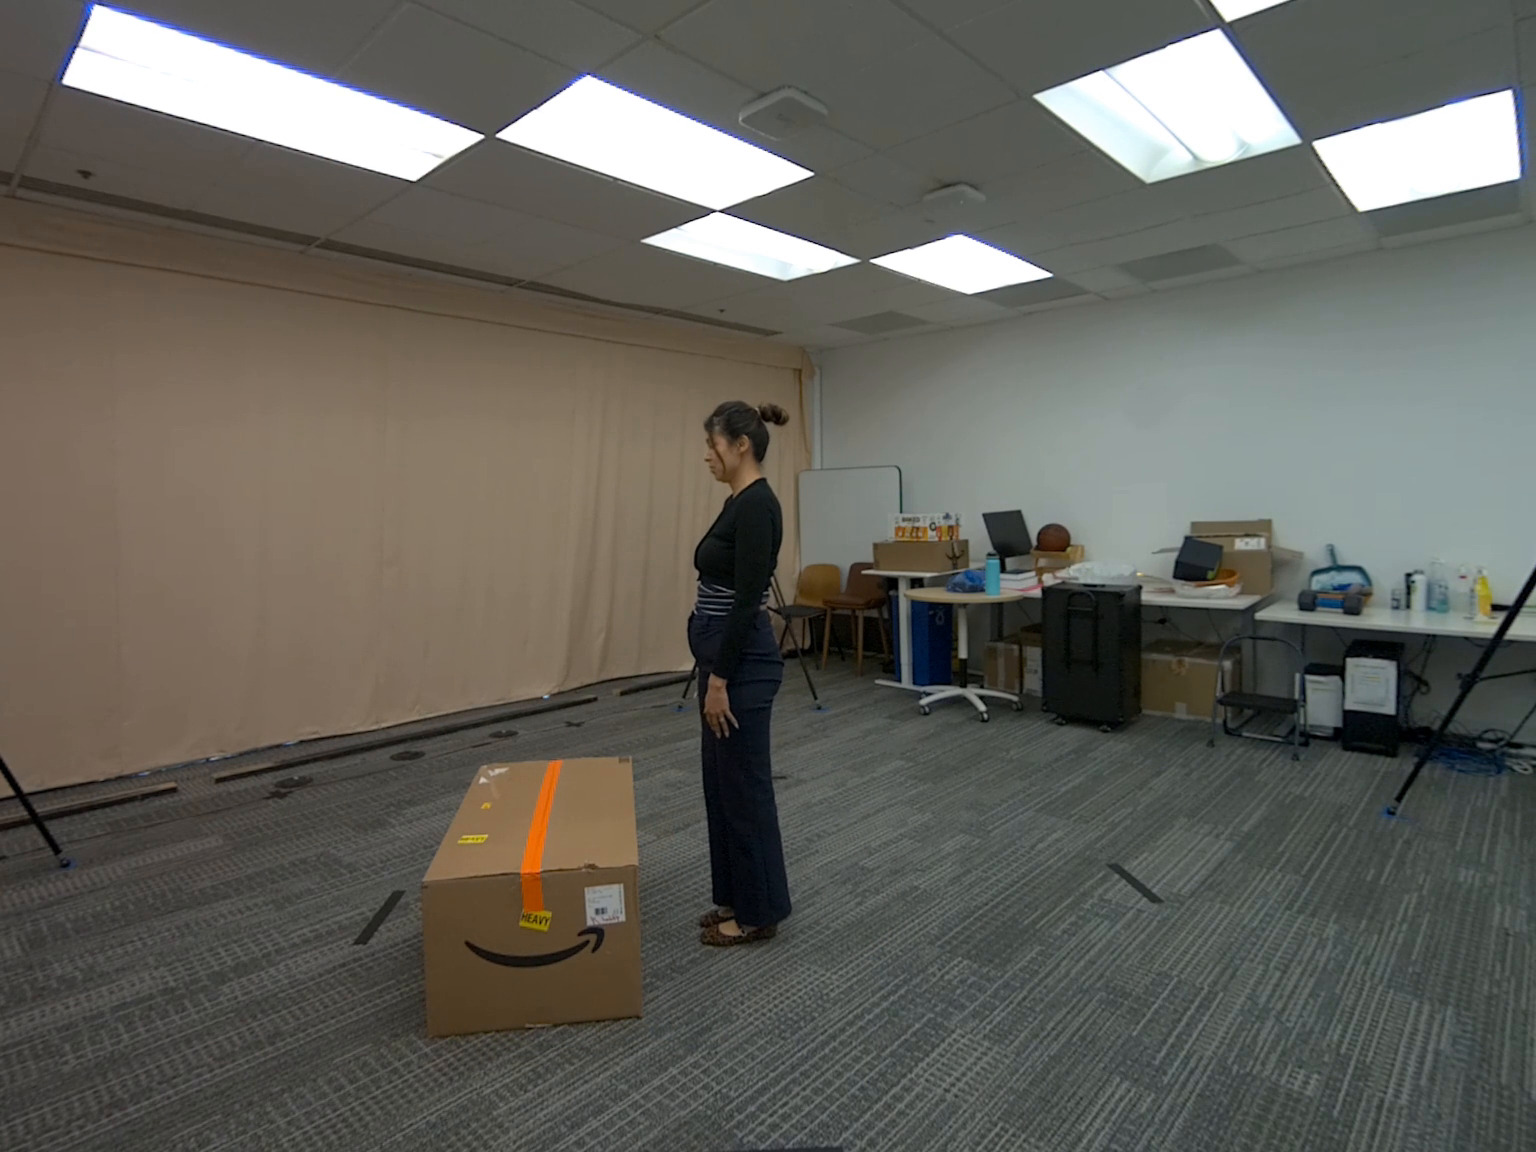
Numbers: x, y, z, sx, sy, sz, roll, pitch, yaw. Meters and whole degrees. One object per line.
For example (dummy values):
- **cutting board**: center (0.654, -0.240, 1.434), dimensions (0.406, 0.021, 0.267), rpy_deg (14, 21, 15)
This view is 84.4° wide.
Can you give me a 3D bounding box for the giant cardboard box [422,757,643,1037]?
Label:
- **giant cardboard box**: center (-0.716, 0.956, 2.750), dimensions (0.572, 0.425, 1.038), rpy_deg (-1, 4, -10)
